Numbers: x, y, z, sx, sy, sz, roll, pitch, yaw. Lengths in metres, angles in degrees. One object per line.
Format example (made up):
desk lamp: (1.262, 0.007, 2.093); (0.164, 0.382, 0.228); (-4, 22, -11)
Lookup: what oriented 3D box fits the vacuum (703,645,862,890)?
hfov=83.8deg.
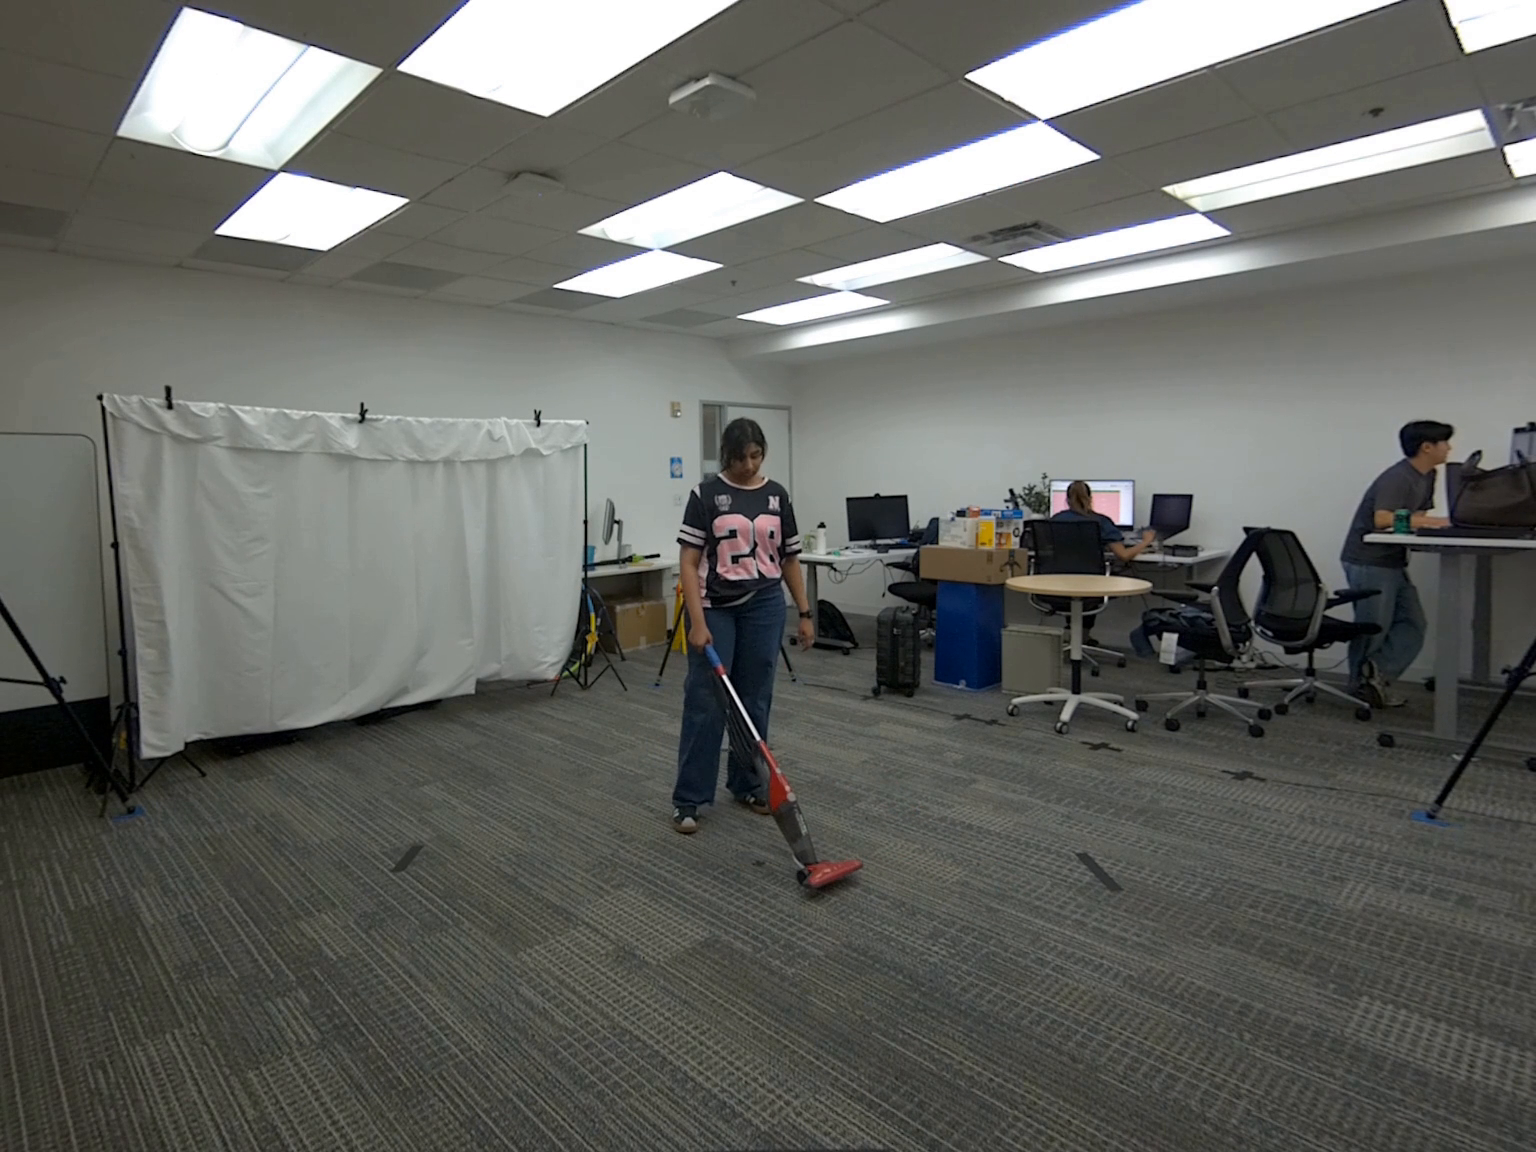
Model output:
vacuum: (-0.046, 0.647, 3.187); (0.245, 1.085, 0.143); (2, -43, -44)
